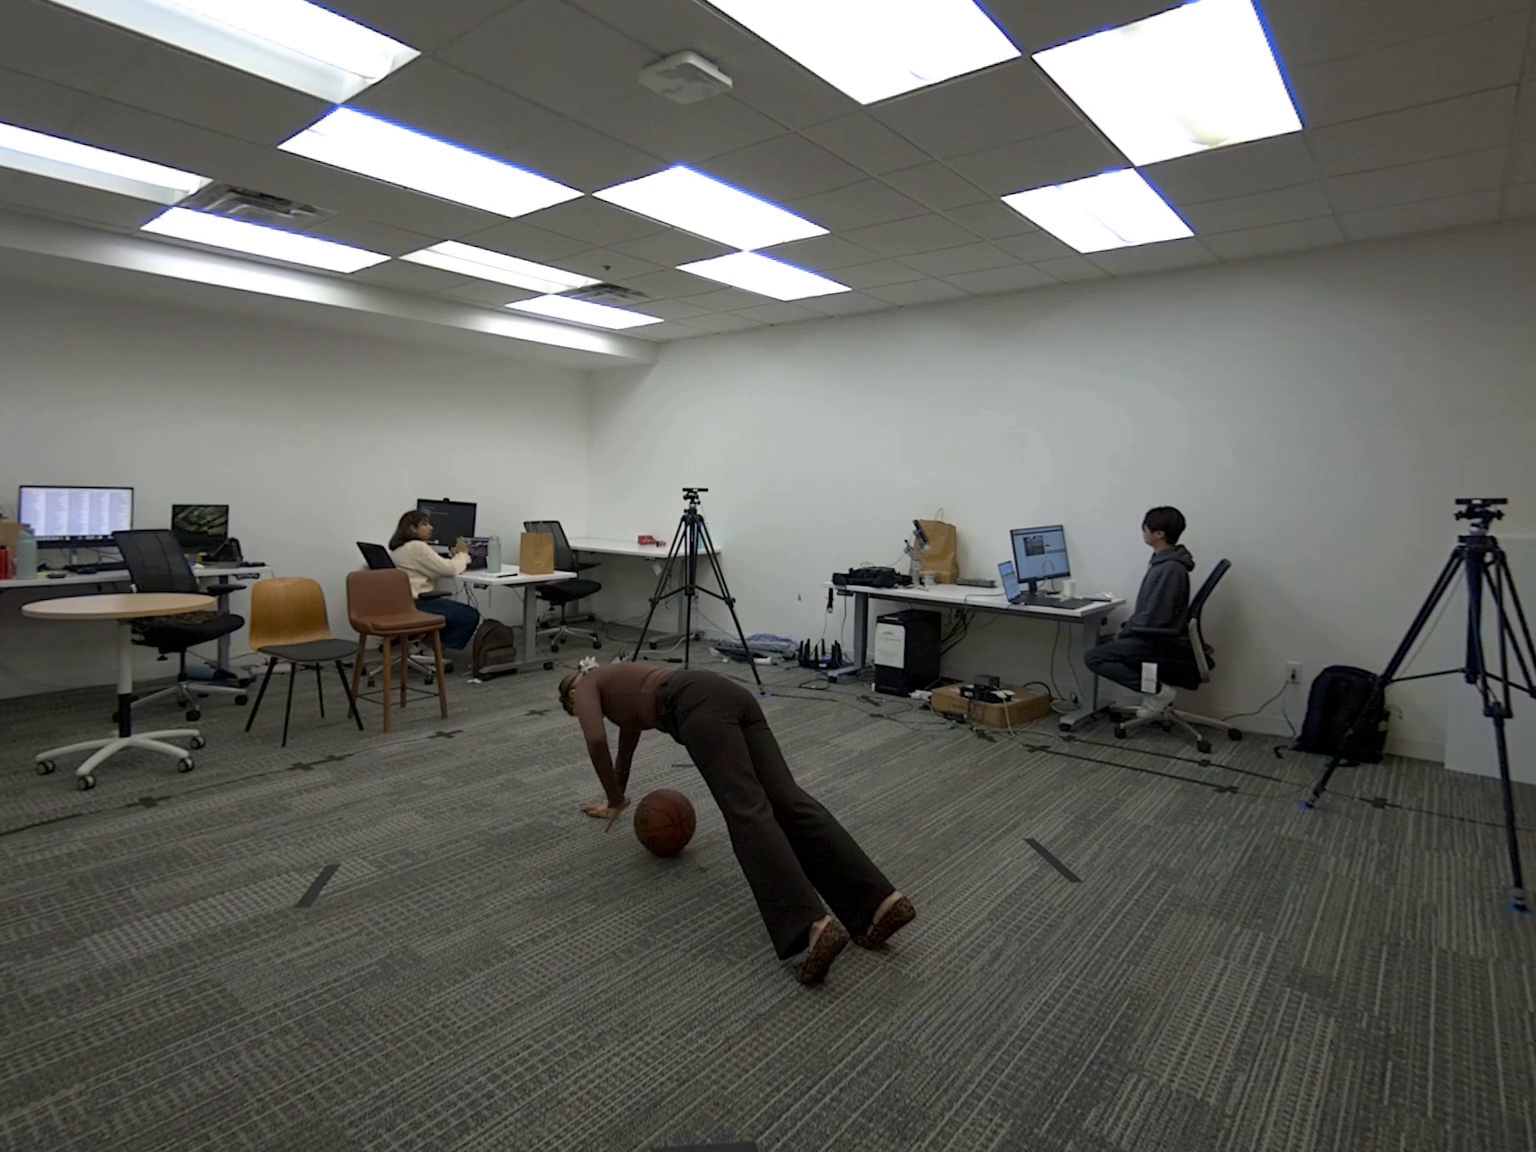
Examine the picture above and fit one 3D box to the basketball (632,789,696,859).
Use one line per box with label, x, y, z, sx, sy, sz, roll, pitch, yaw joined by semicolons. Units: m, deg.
basketball;-0.406;0.930;3.246;0.236;0.235;0.237;1;4;-2
